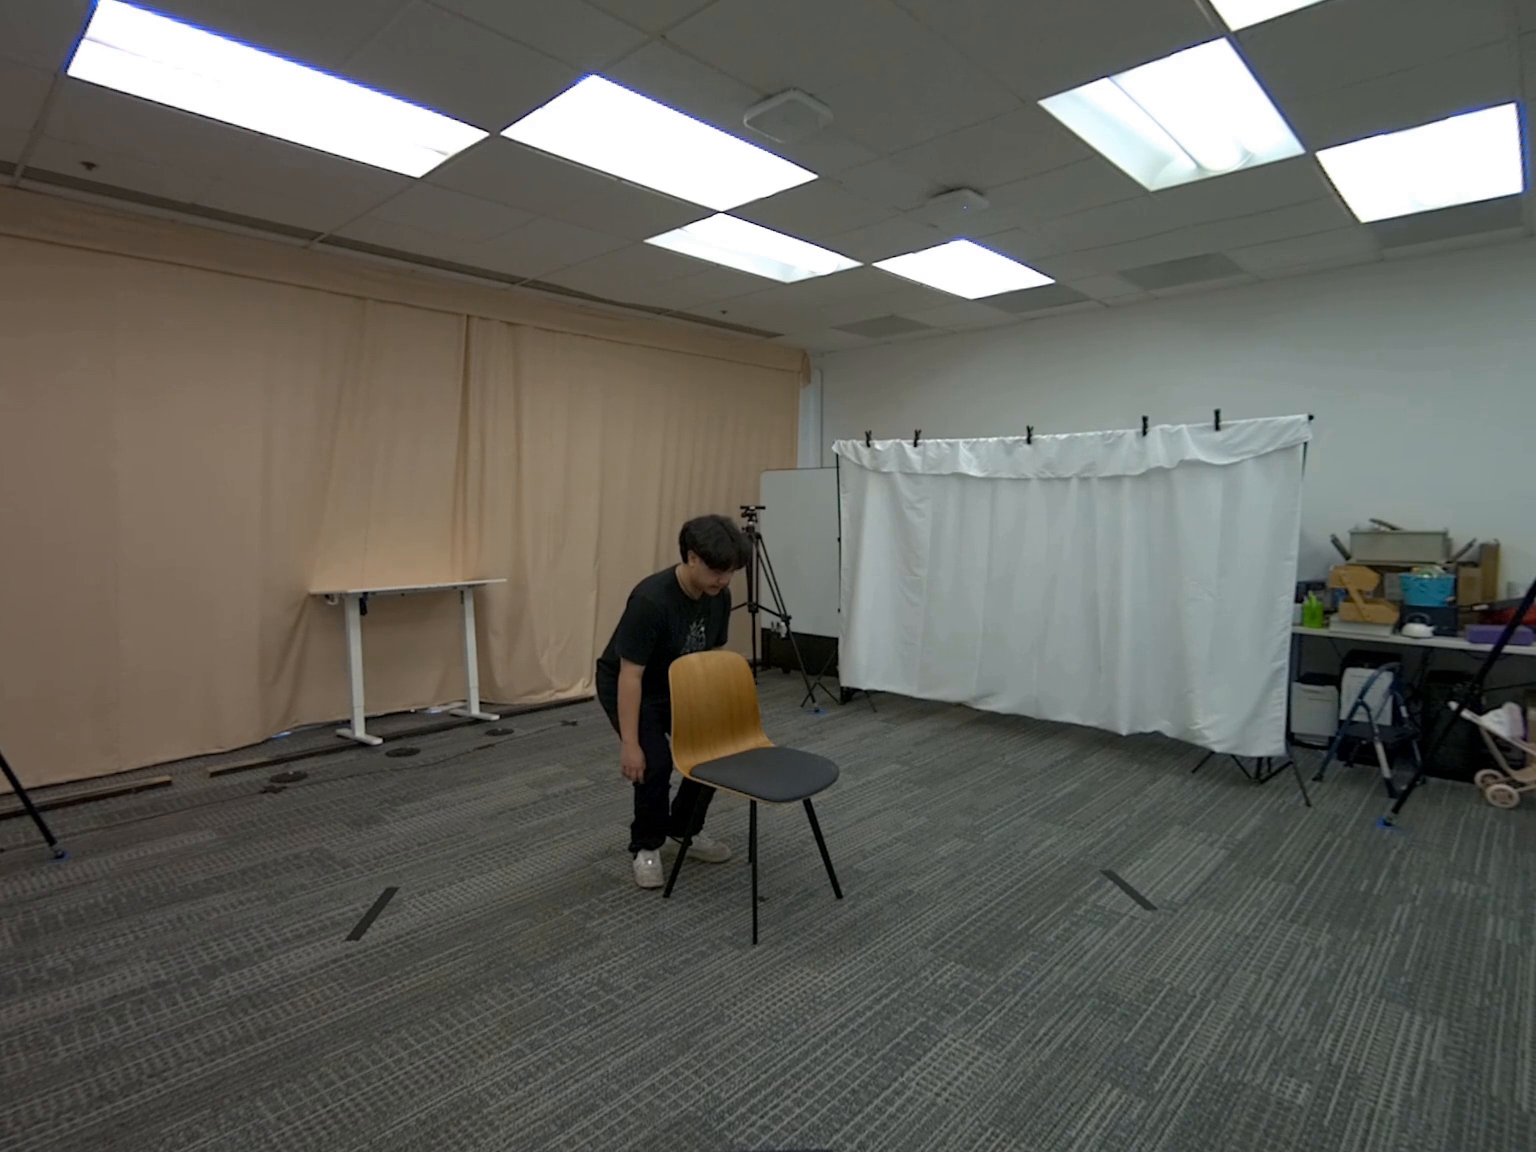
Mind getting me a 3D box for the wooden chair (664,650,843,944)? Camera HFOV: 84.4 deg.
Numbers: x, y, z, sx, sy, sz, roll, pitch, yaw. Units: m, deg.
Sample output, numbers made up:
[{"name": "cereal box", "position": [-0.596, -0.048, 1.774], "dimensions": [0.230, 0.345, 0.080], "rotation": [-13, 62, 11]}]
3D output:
[{"name": "wooden chair", "position": [-0.045, 0.721, 2.952], "dimensions": [0.539, 0.878, 0.463], "rotation": [-4, 0, 44]}]
